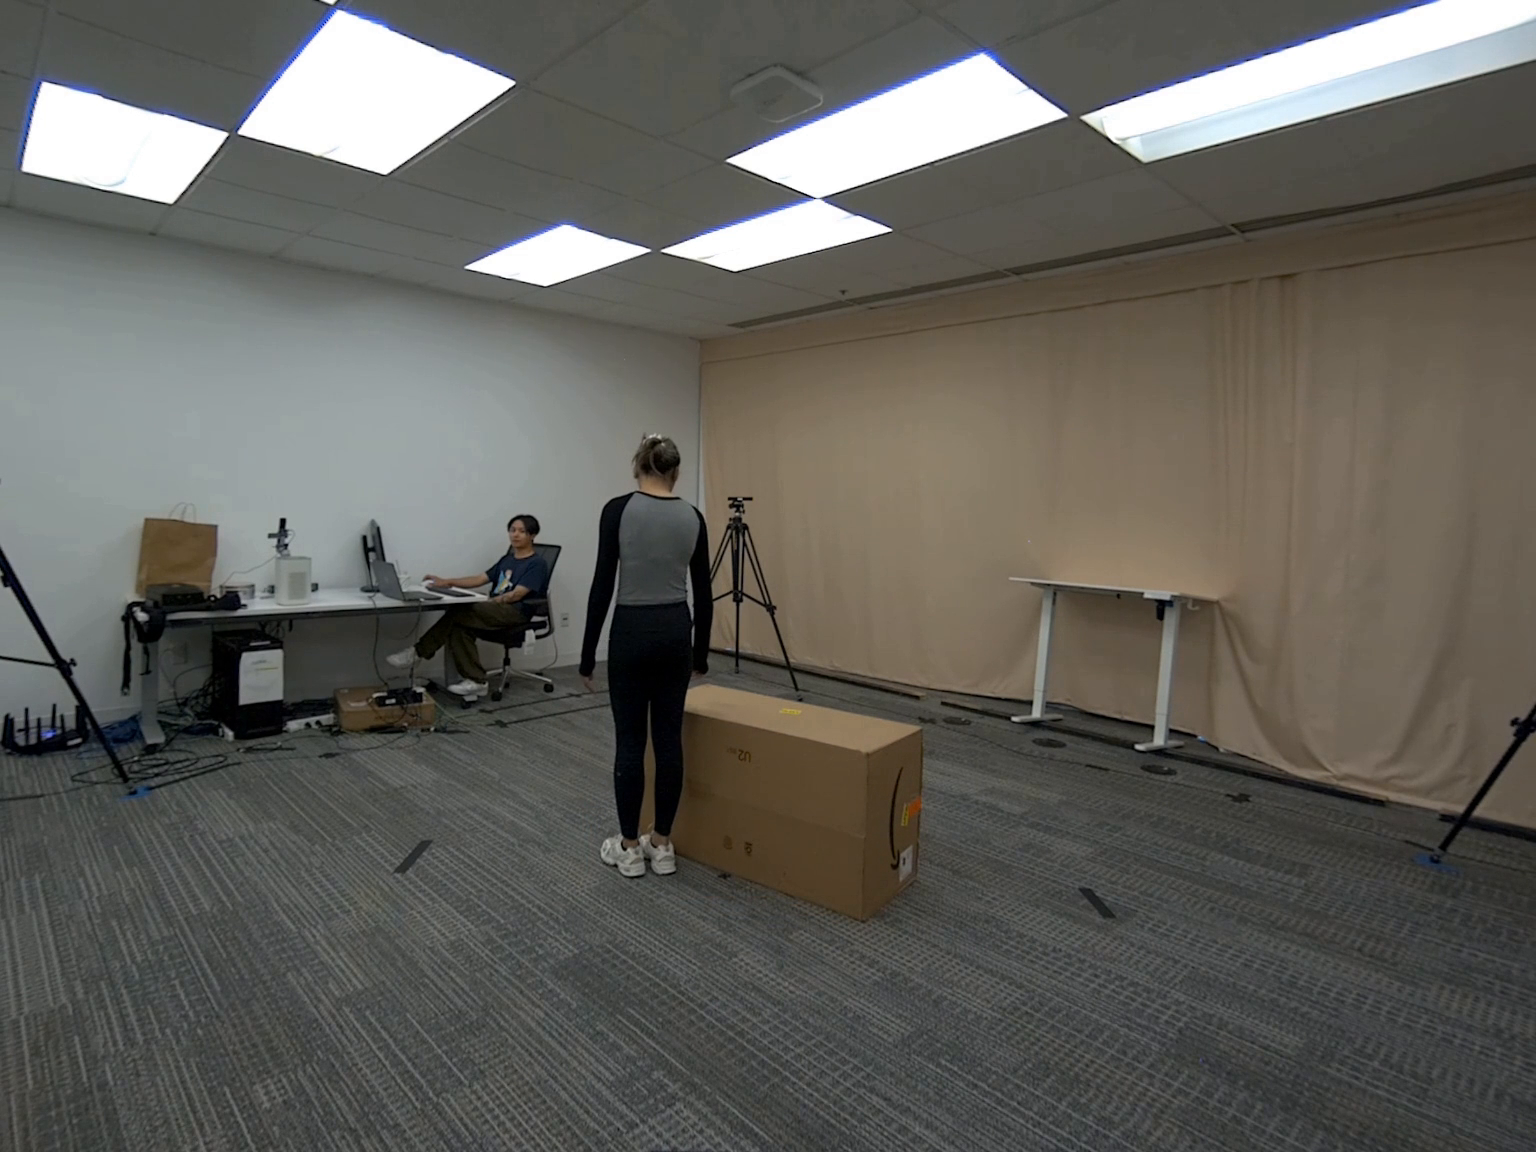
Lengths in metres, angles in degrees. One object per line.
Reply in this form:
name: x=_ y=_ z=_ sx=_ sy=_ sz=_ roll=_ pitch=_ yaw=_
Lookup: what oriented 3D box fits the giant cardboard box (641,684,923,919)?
giant cardboard box: x=0.023 y=0.813 z=3.243 sx=1.051 sy=0.576 sz=0.417 roll=5 pitch=6 yaw=37
